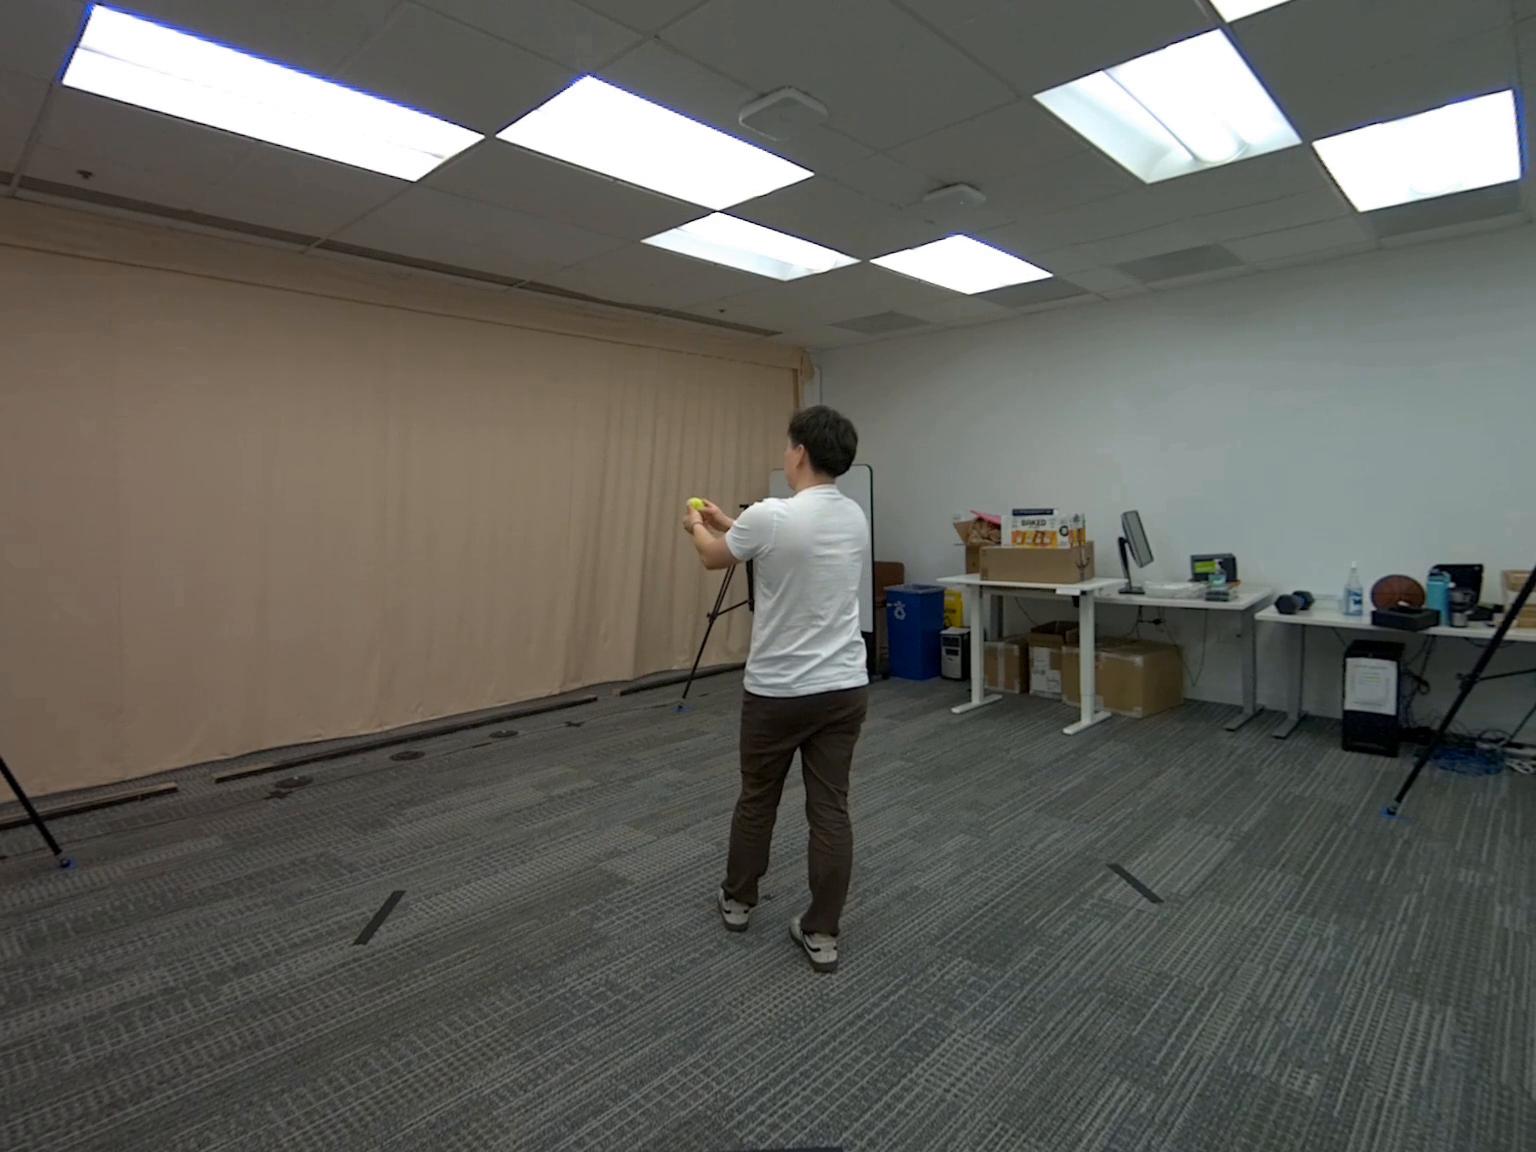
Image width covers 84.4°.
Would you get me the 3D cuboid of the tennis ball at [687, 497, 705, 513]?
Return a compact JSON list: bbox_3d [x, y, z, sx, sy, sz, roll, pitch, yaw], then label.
[{"bbox_3d":[-0.254,-0.235,2.921,0.066,0.066,0.067,-1,4,-2],"label":"tennis ball"}]
